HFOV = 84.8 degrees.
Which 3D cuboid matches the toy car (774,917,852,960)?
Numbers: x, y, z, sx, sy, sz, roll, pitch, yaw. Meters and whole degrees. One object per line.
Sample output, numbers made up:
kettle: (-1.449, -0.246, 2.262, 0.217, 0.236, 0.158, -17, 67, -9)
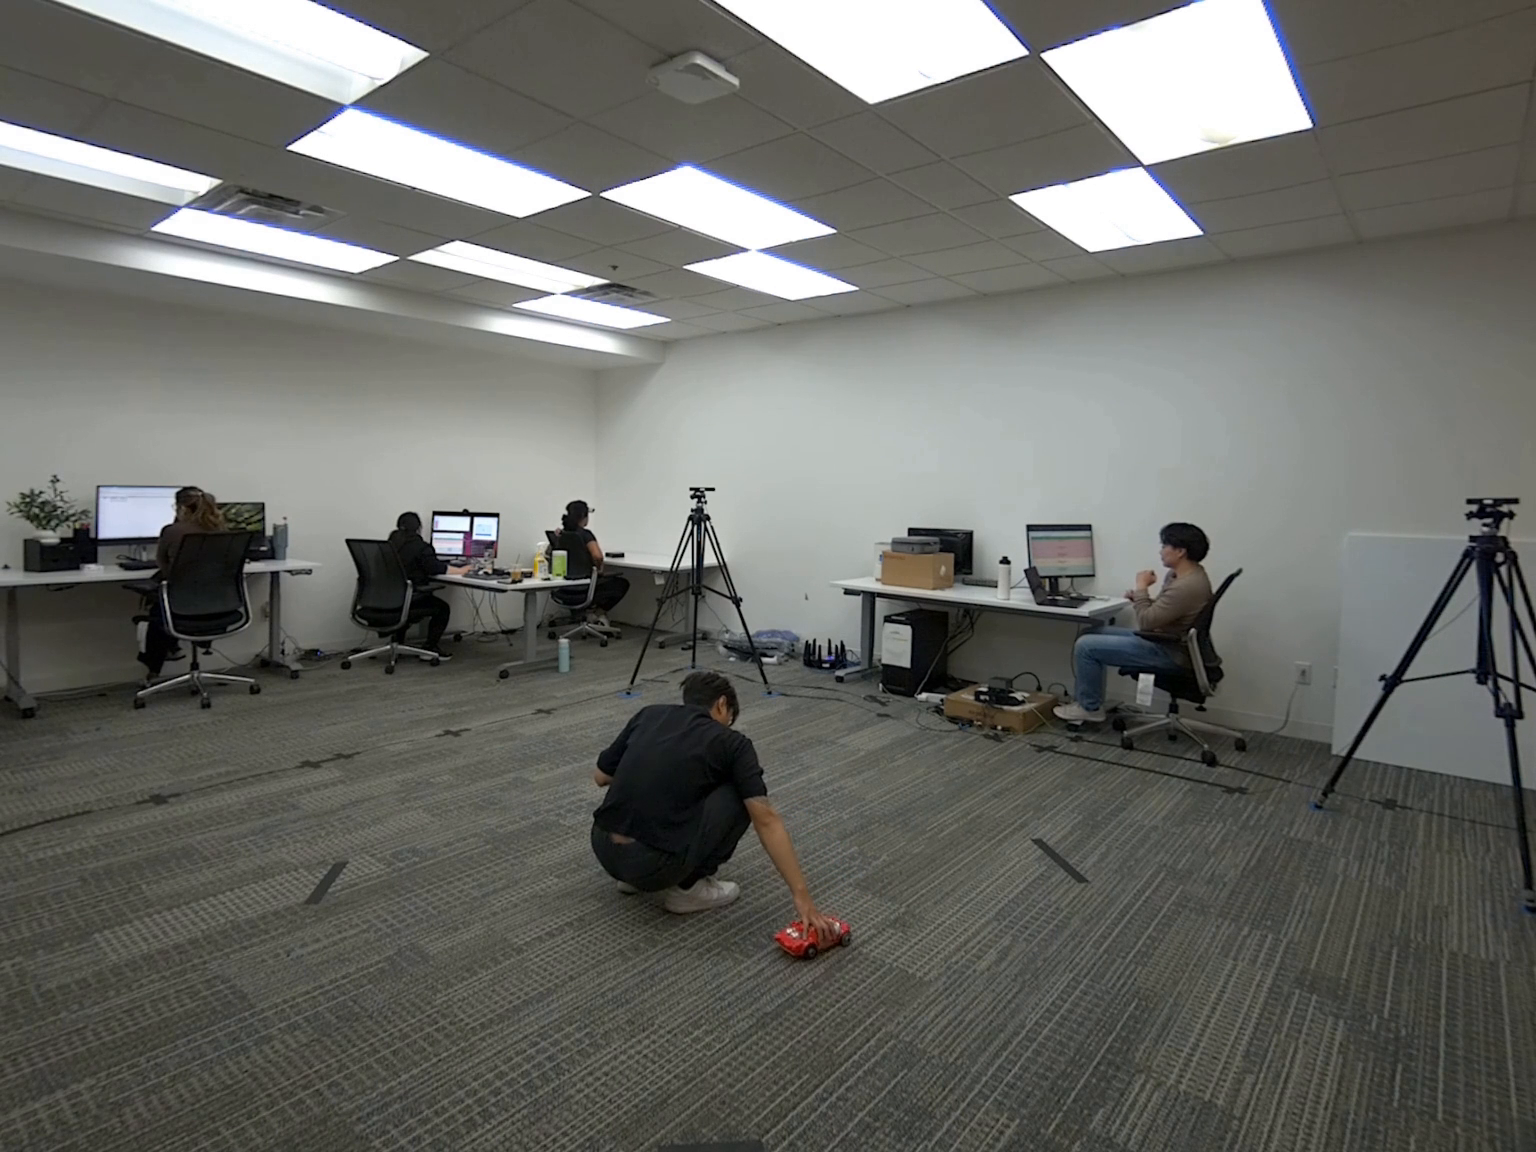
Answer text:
toy car: (0.125, 1.094, 2.589, 0.246, 0.083, 0.135, 11, -1, -35)
